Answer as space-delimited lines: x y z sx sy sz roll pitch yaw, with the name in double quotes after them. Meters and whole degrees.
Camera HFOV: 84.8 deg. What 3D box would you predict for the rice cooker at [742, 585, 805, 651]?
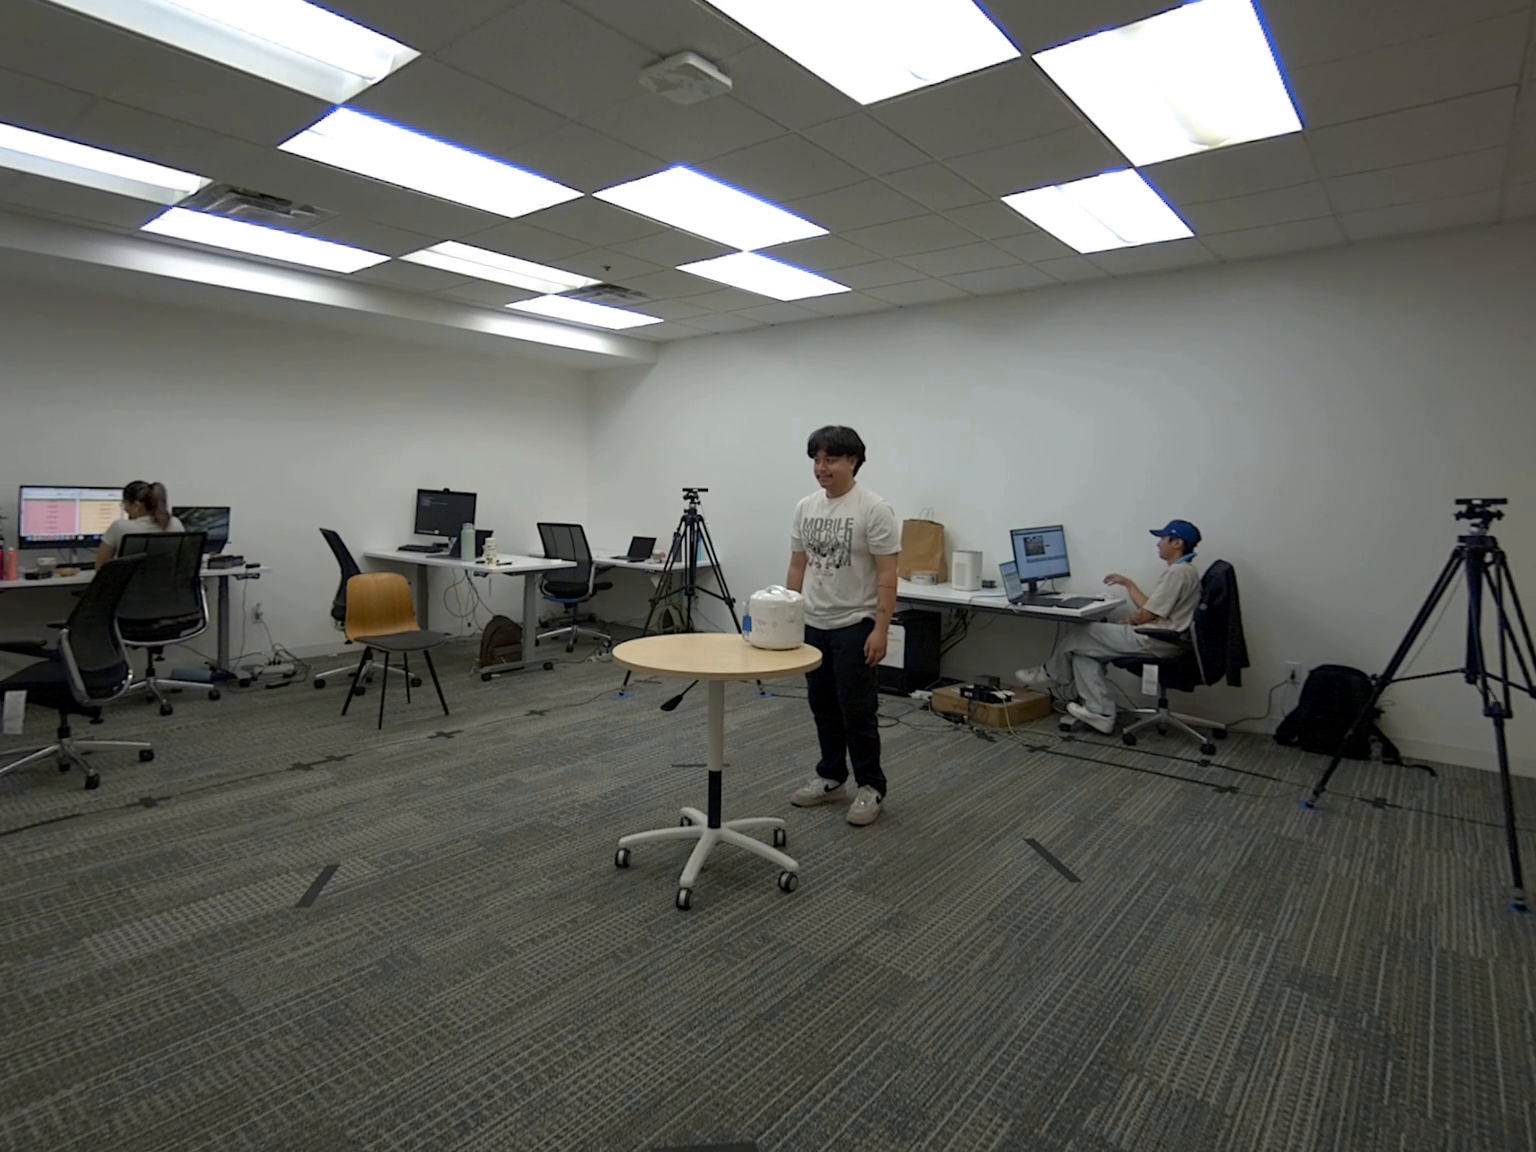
0.026 0.149 3.225 0.212 0.232 0.227 -2 6 -29 "rice cooker"
